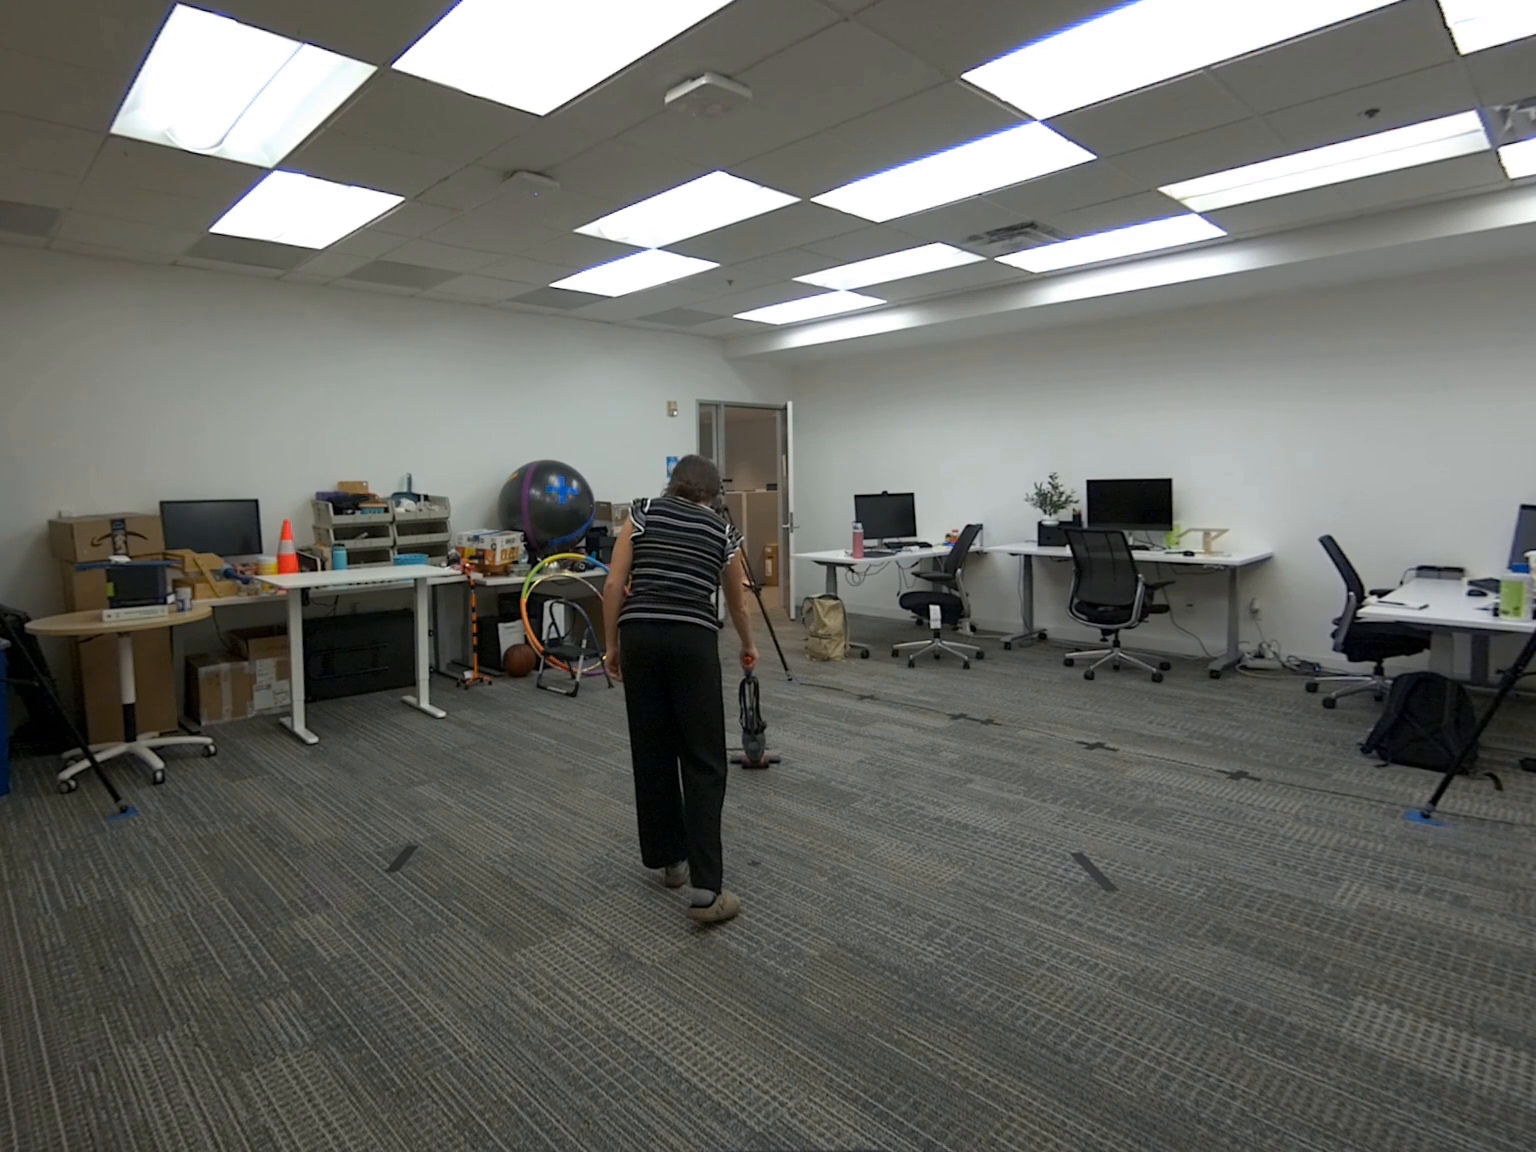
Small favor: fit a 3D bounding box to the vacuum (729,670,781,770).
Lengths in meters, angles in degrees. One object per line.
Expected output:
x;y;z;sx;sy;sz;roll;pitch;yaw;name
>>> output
-0.075;0.618;3.765;0.254;0.147;1.020;3;-34;4;vacuum
